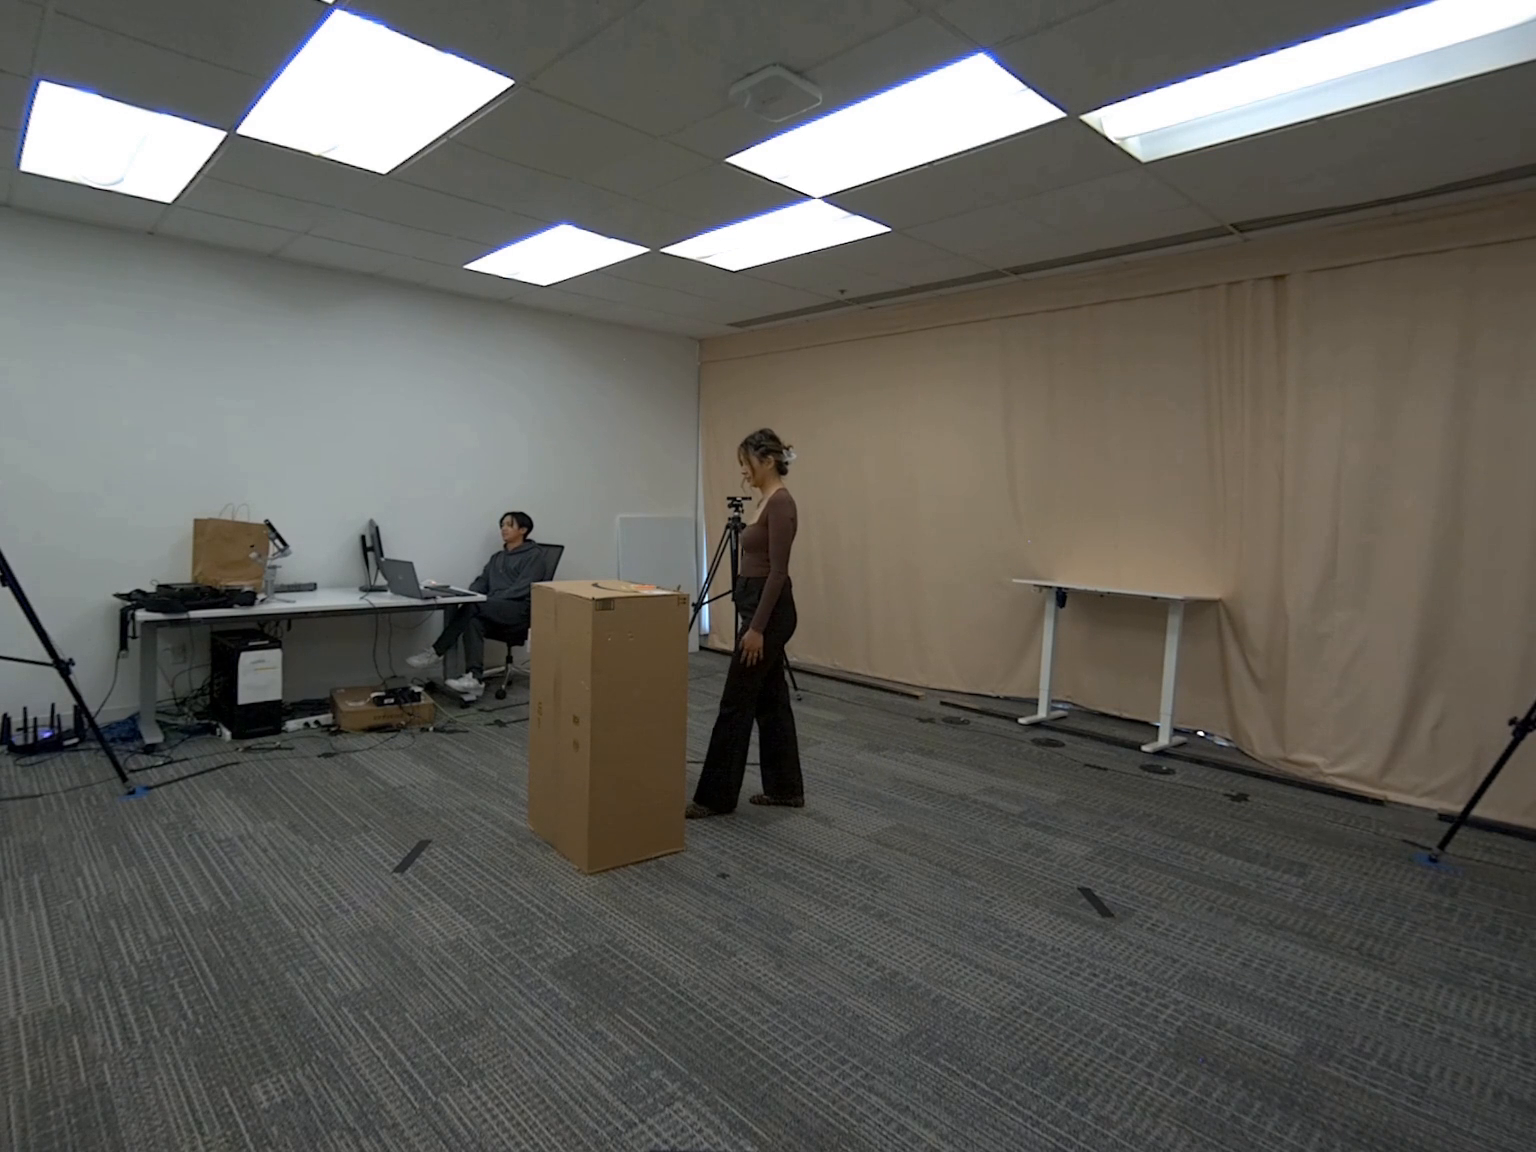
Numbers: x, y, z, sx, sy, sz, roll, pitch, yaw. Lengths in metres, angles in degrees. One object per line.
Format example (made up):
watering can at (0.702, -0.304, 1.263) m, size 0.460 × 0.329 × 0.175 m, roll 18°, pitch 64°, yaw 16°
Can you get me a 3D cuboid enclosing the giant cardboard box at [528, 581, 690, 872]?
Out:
giant cardboard box at (-0.663, 0.557, 3.402) m, size 0.437 × 1.025 × 0.598 m, roll 0°, pitch 4°, yaw -36°
